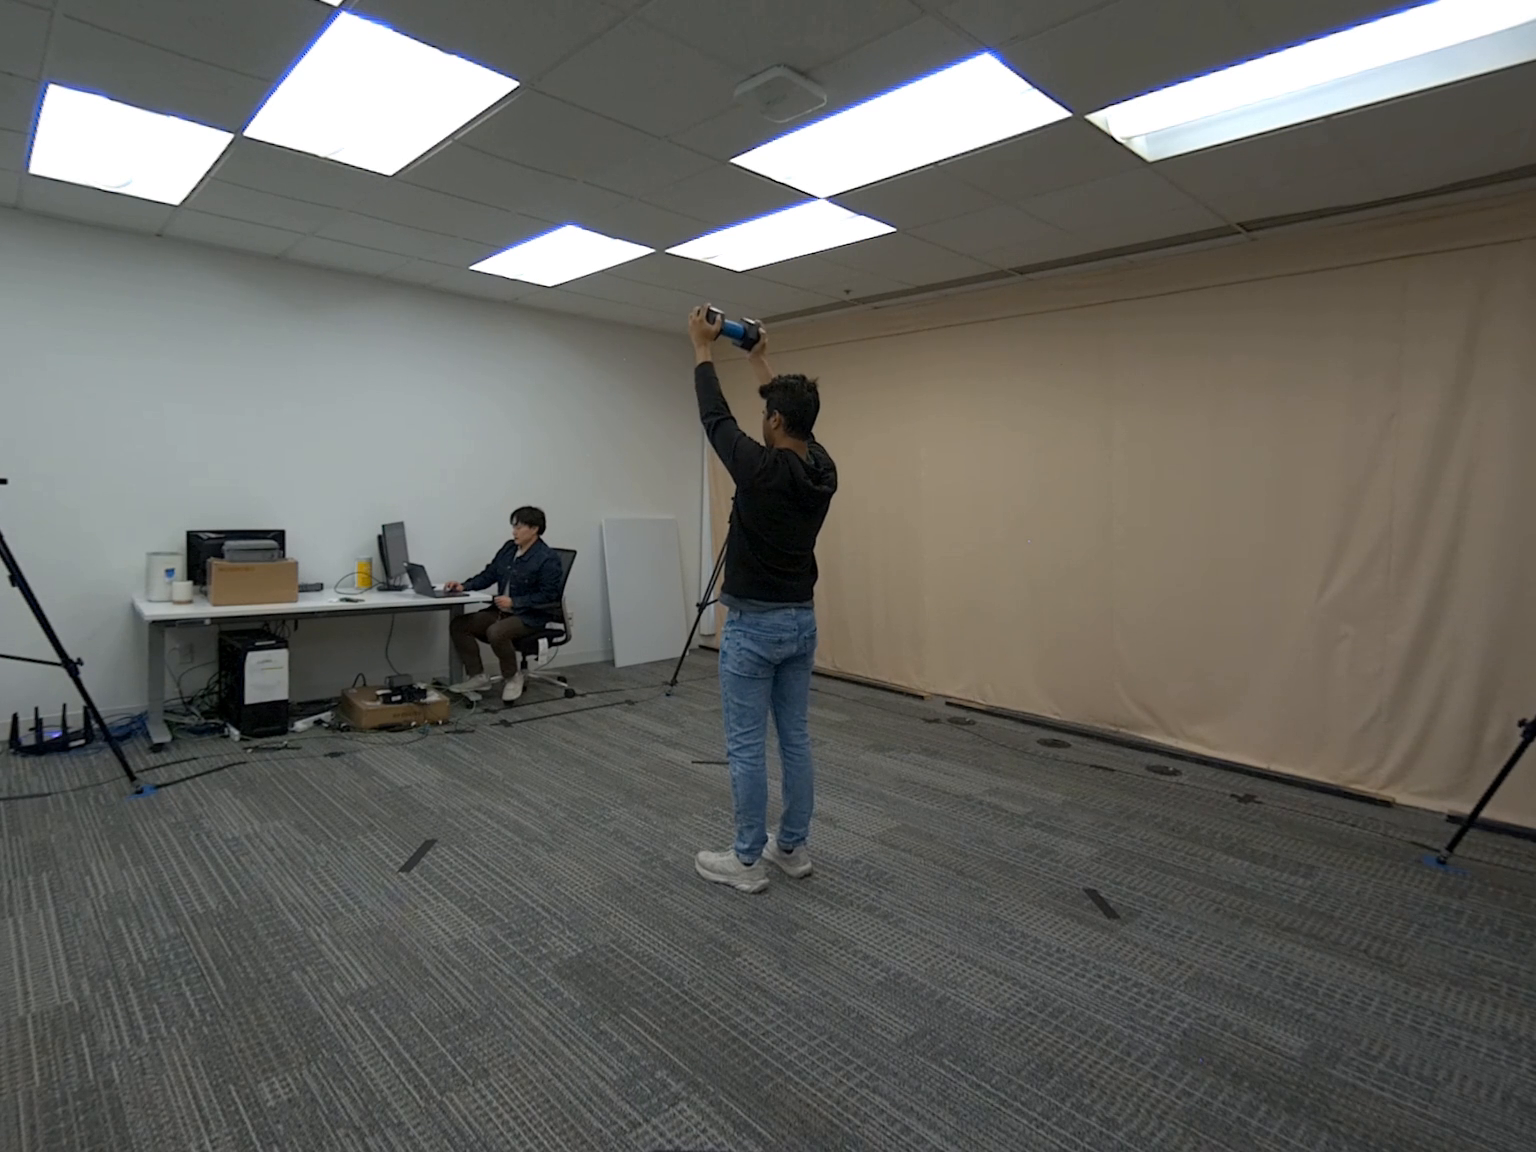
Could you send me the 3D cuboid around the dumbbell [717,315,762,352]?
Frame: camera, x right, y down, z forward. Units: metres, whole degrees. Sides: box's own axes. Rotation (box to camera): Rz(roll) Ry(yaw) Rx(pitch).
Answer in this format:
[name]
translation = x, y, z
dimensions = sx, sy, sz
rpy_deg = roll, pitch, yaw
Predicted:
[dumbbell]
translation = -0.162, -0.925, 3.190
dimensions = 0.286, 0.110, 0.124
rpy_deg = 1, -27, -48
